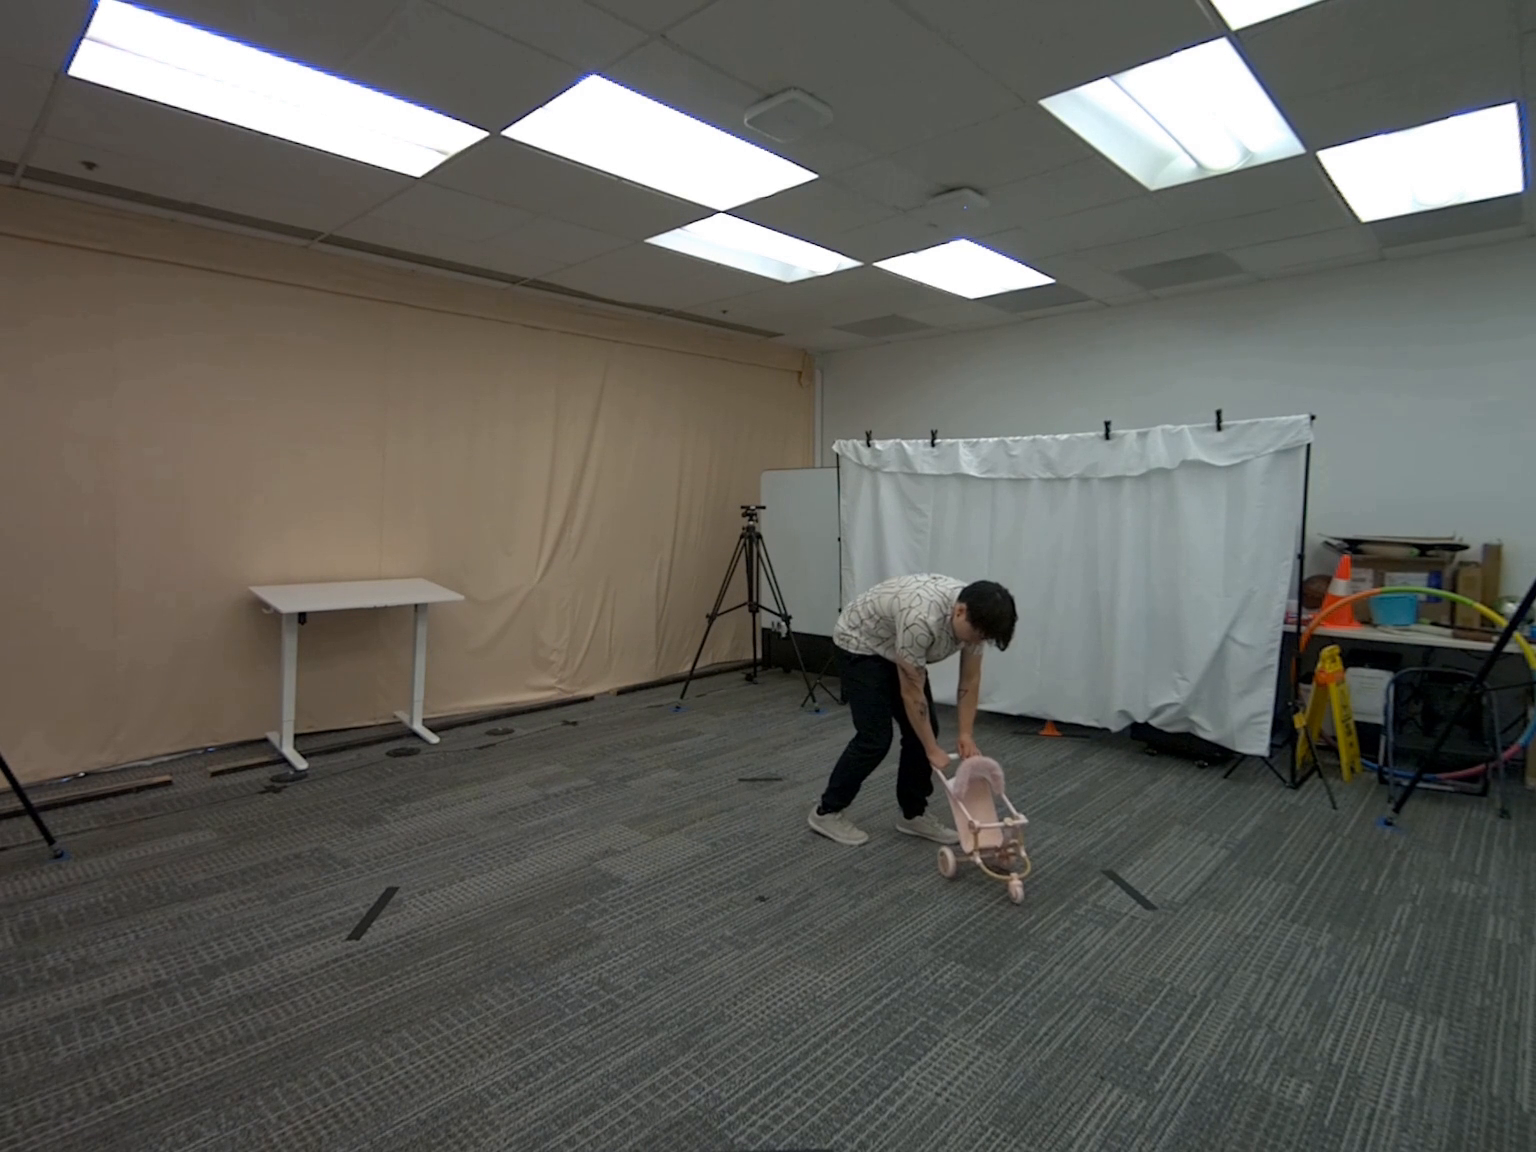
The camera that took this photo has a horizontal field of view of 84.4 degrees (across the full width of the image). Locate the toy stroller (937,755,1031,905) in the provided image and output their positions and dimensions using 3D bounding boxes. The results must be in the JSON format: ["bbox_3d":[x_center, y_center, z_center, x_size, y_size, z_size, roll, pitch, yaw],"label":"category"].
[{"bbox_3d":[0.804,0.912,3.126,0.278,0.541,0.342,-2,-16,-14],"label":"toy stroller"}]
